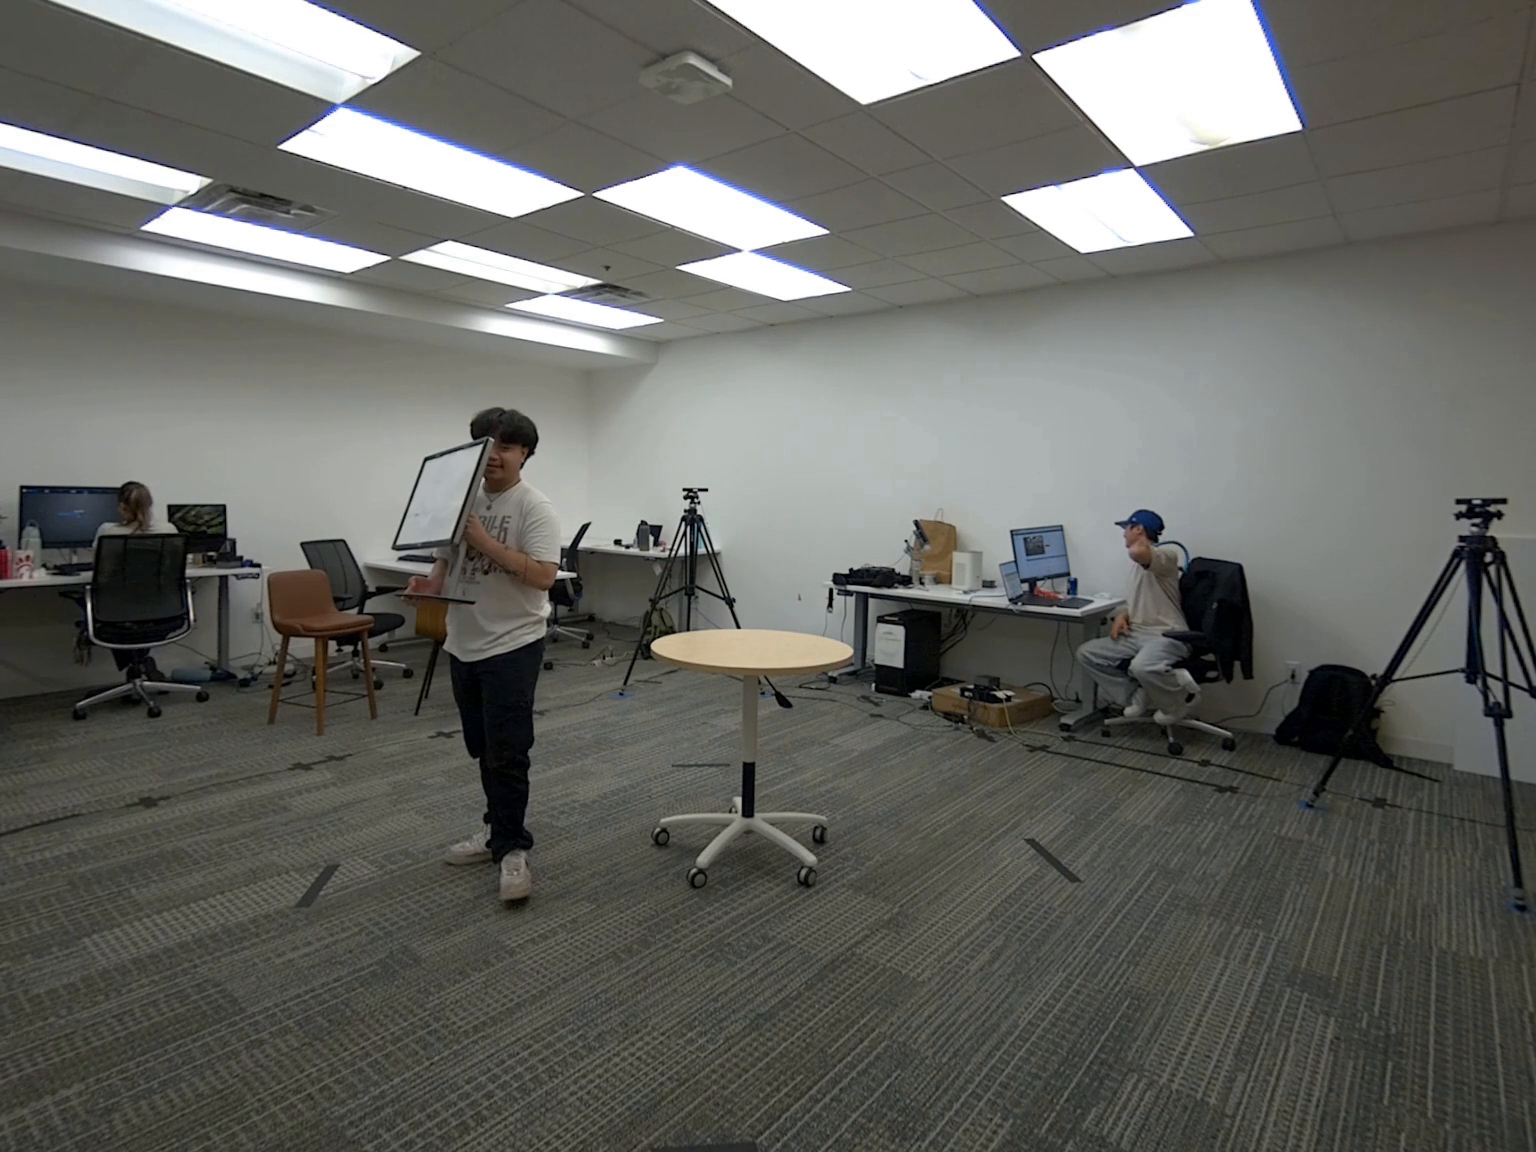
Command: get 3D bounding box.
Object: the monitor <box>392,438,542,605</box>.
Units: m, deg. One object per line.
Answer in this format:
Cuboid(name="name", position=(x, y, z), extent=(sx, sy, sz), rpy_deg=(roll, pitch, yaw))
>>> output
Cuboid(name="monitor", position=(-1.091, -0.168, 2.904), extent=(0.202, 0.559, 0.582), rpy_deg=(19, -14, -39))
